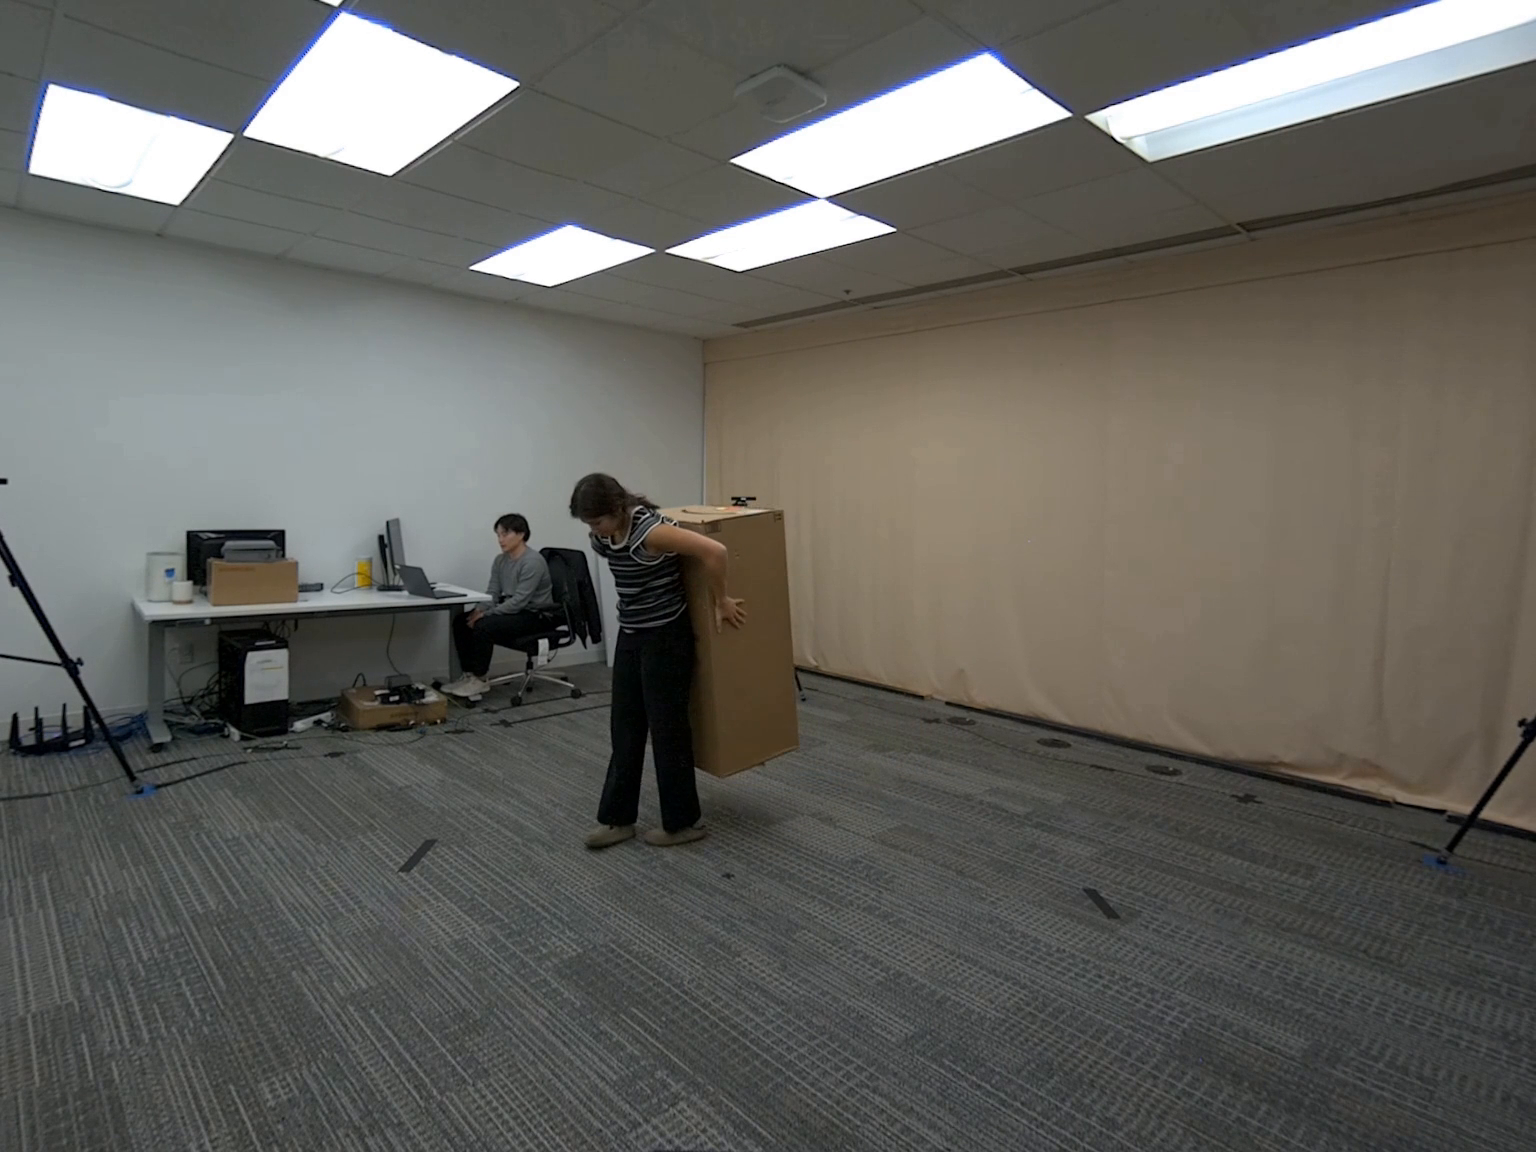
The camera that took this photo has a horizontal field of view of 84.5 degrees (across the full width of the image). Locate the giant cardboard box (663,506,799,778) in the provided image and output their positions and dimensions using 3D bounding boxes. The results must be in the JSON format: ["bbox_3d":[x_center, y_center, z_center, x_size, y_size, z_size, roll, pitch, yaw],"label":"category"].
[{"bbox_3d":[-0.245,0.239,3.588,0.418,1.019,0.592,-10,10,-39],"label":"giant cardboard box"}]
